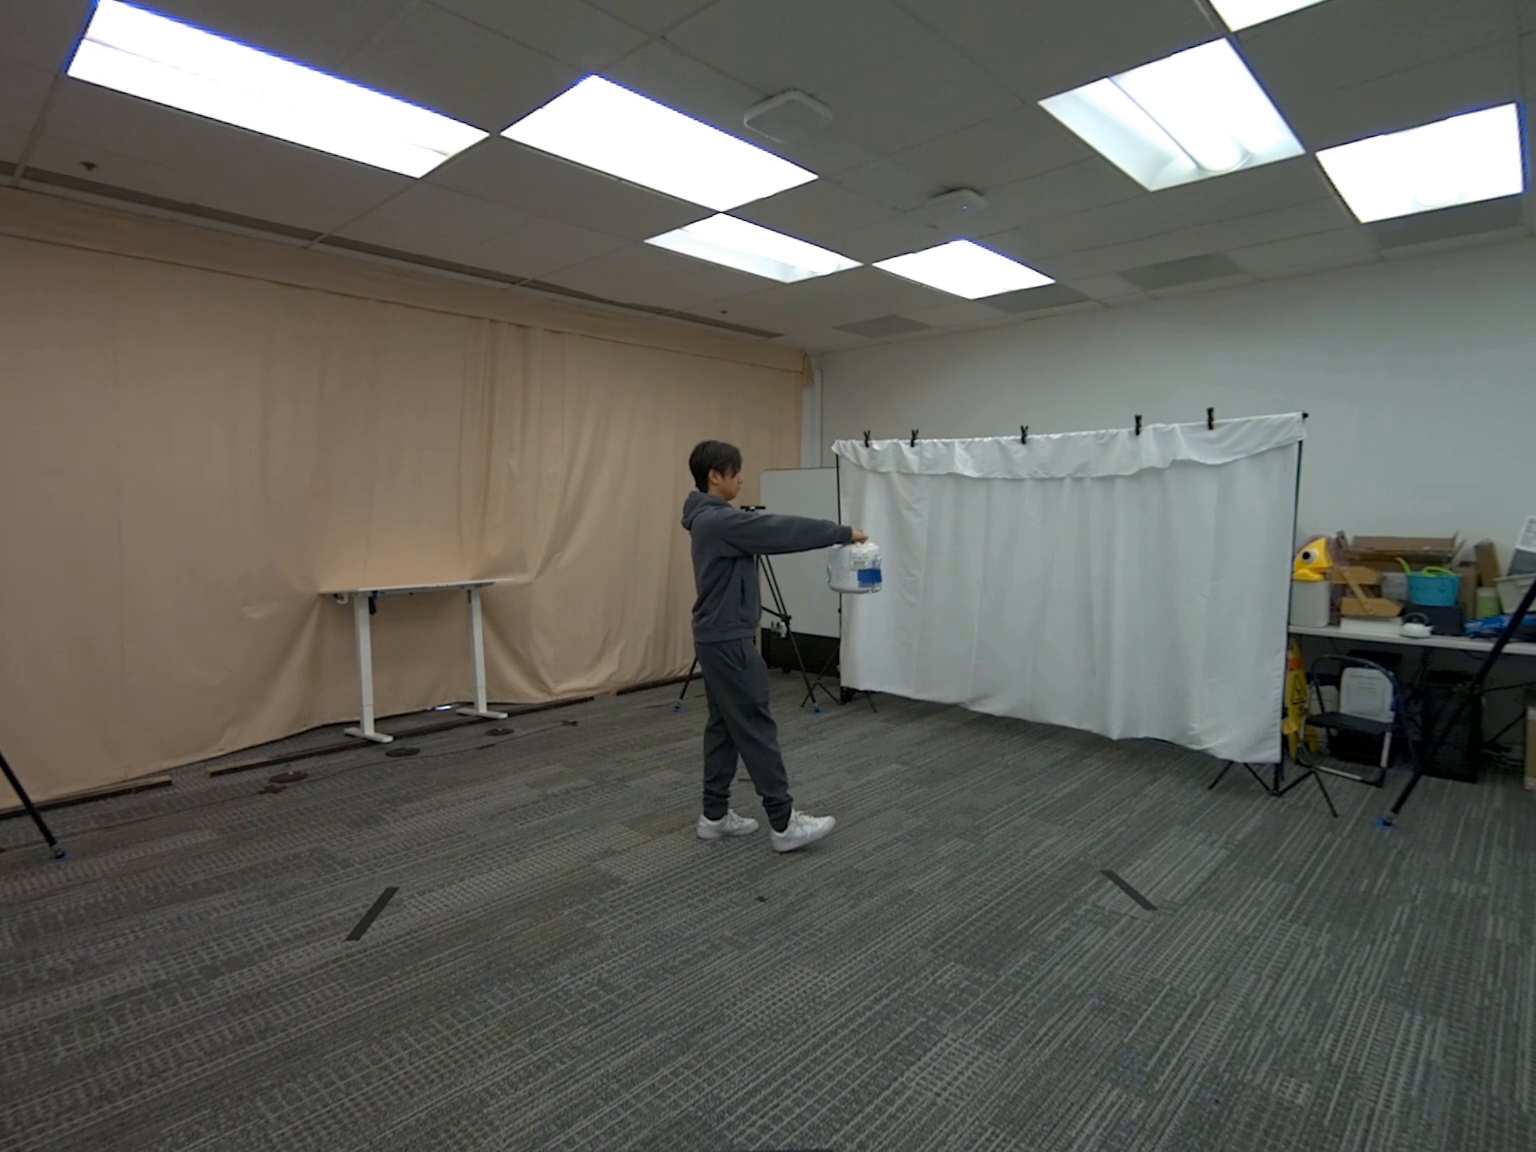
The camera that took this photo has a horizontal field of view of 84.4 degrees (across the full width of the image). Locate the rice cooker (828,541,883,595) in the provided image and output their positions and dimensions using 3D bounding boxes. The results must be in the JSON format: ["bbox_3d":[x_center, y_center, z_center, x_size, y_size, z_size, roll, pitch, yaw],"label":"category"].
[{"bbox_3d":[0.364,-0.048,3.547,0.217,0.232,0.222,1,6,-3],"label":"rice cooker"}]
